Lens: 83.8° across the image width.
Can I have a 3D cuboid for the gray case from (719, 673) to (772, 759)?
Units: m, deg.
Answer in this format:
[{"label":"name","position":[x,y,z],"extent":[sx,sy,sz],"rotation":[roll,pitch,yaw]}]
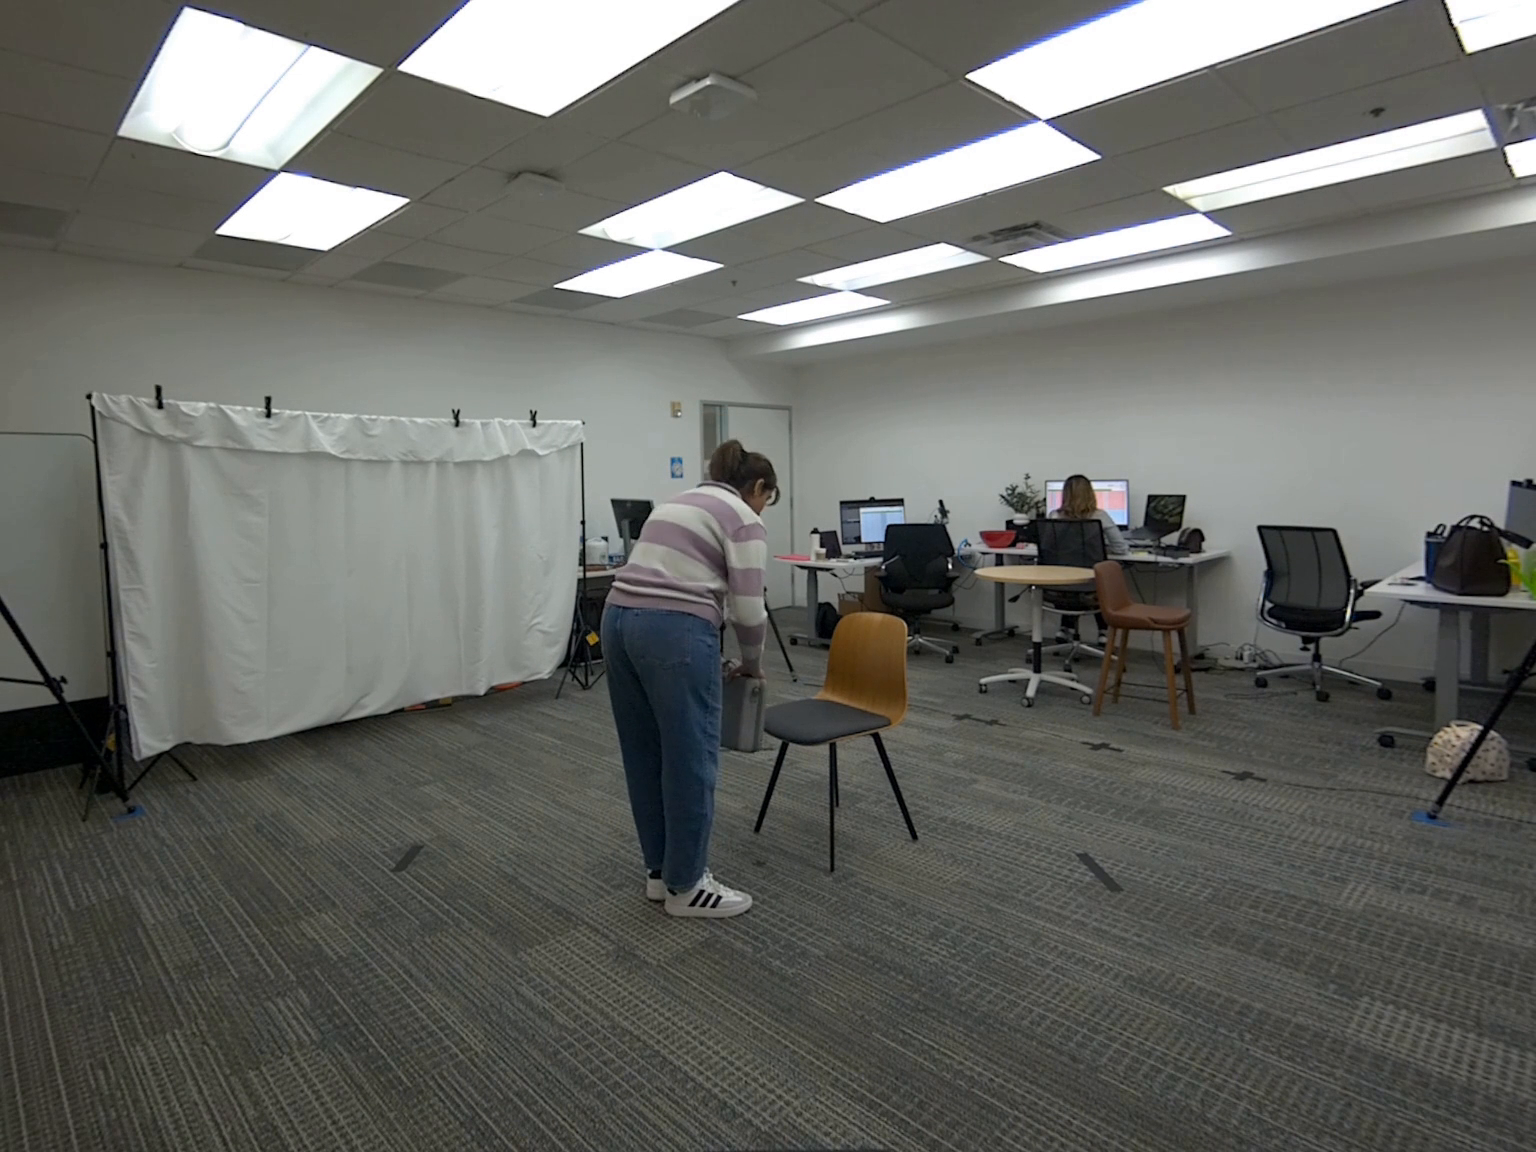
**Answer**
[{"label":"gray case","position":[-0.112,0.471,2.928],"extent":[0.101,0.262,0.262],"rotation":[9,-8,-30]}]
